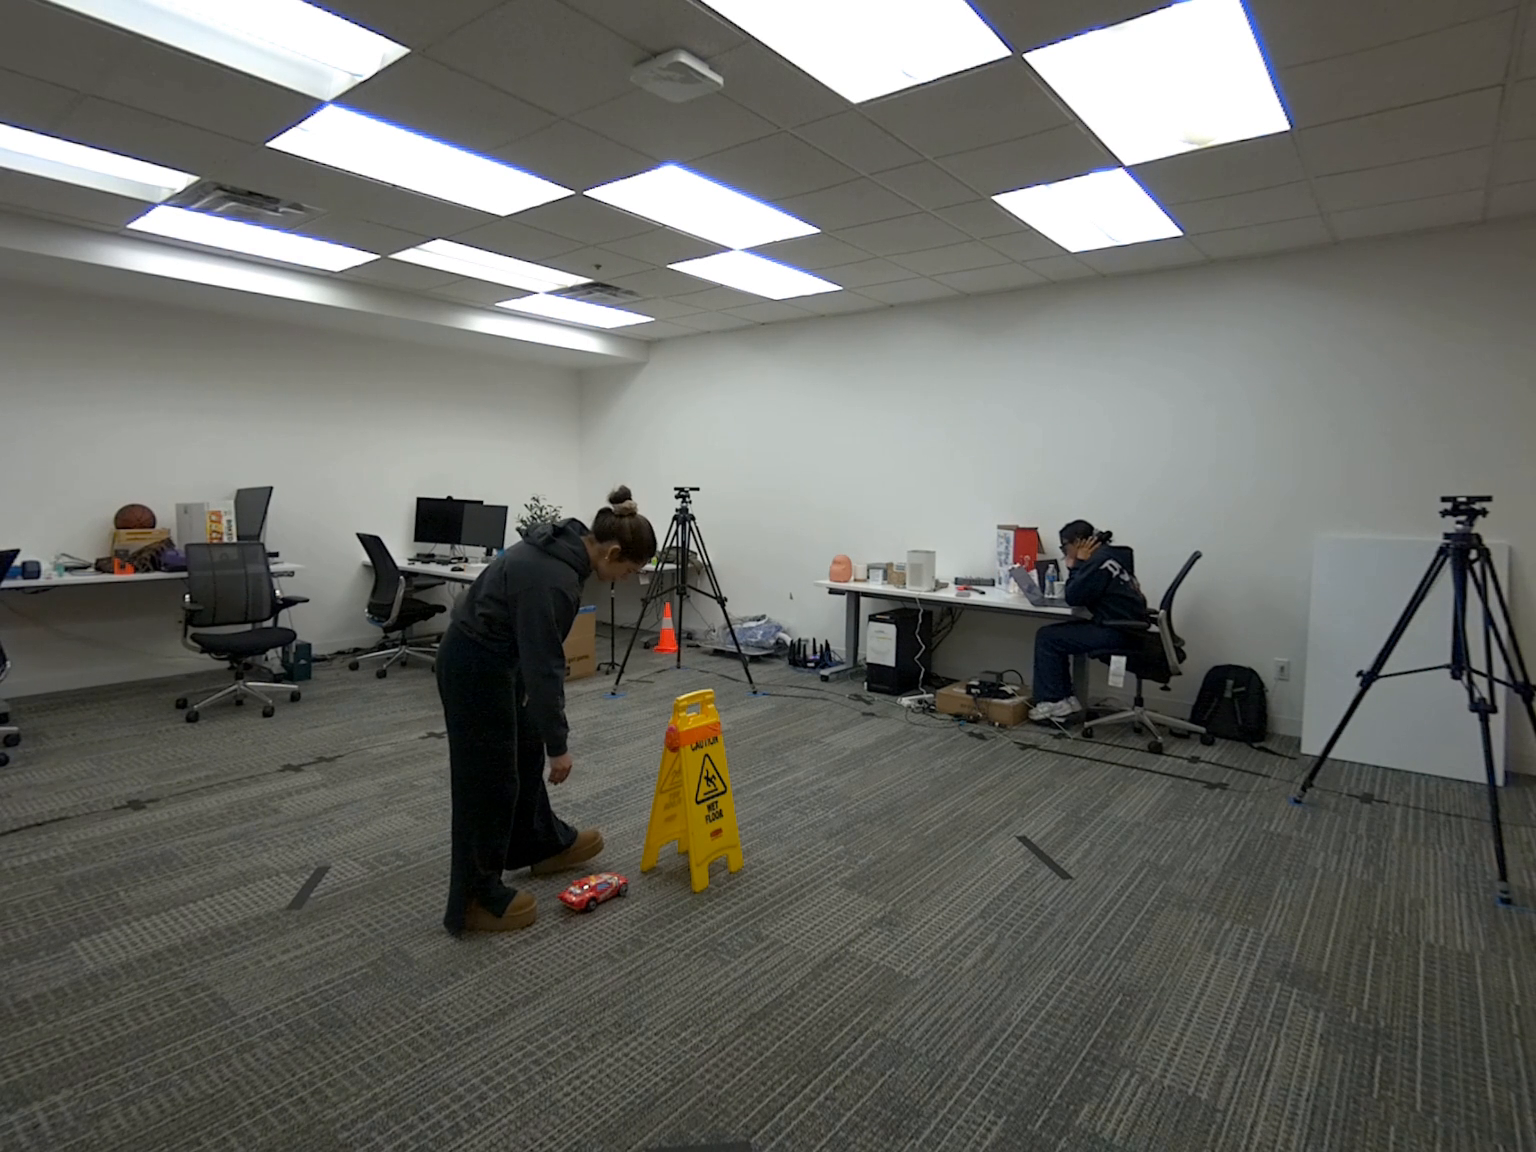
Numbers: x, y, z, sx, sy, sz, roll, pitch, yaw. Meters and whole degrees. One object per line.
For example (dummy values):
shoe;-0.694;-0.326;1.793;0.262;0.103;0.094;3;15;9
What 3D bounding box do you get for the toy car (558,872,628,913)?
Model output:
toy car;-0.589;1.056;2.843;0.134;0.083;0.245;4;-4;38
